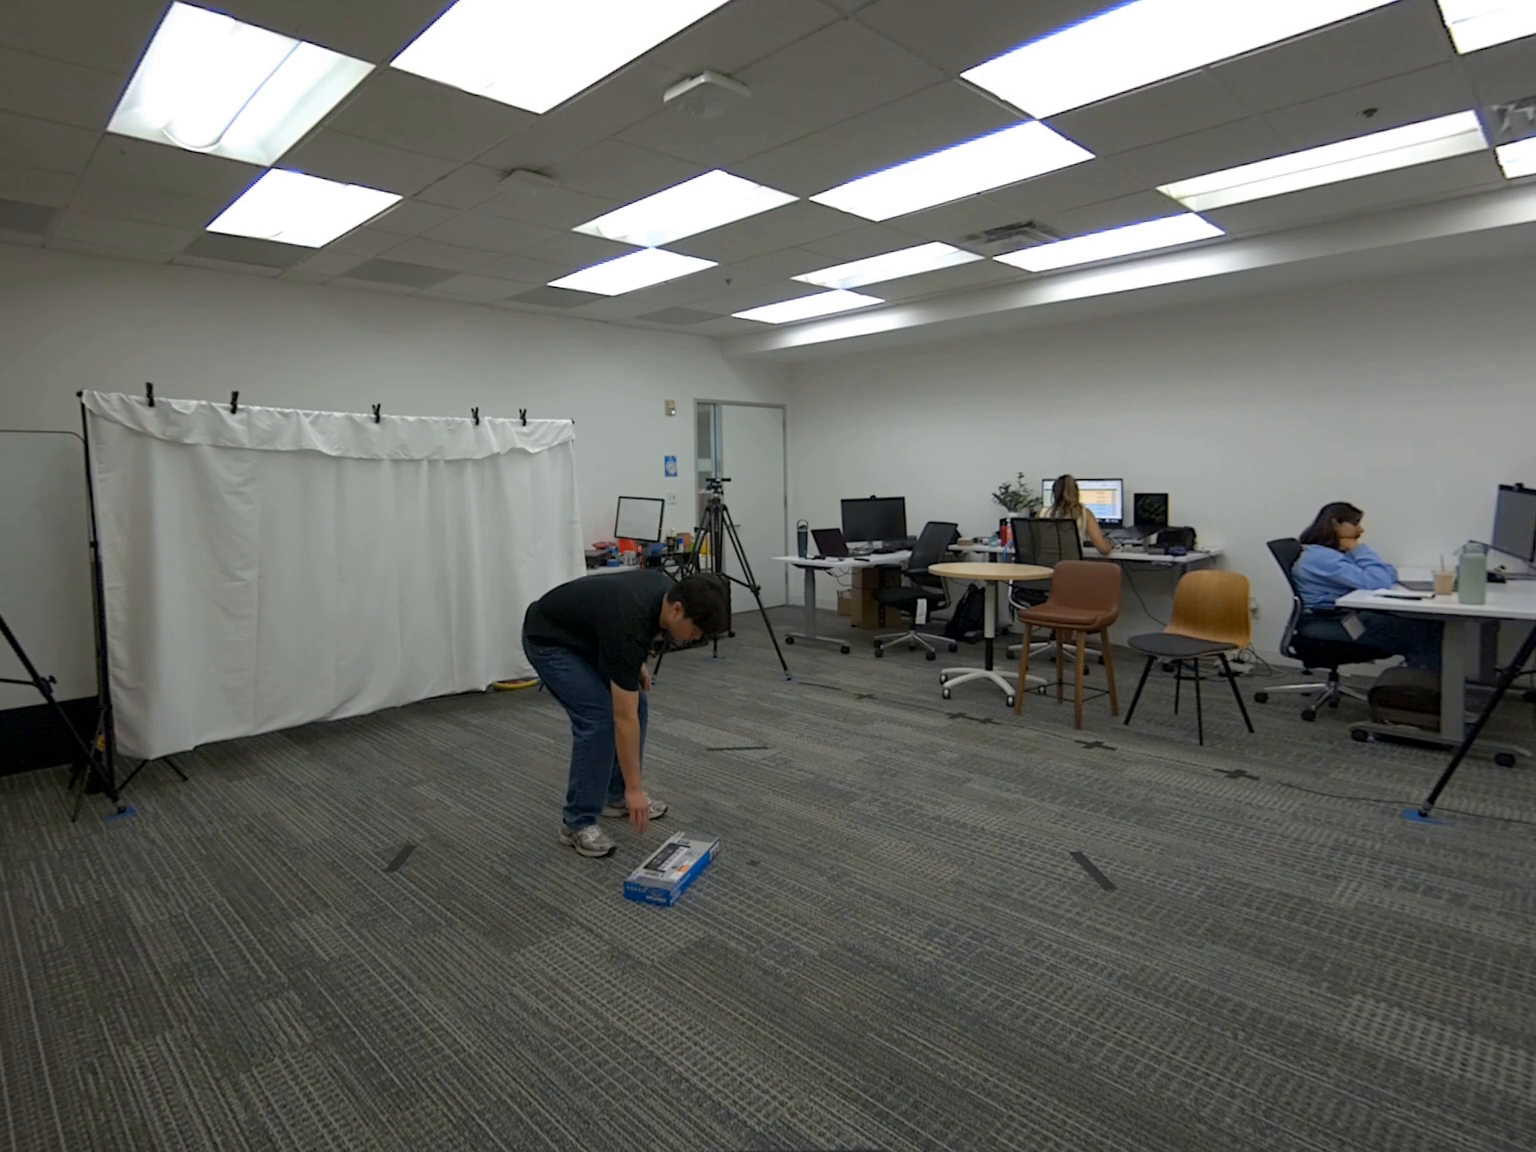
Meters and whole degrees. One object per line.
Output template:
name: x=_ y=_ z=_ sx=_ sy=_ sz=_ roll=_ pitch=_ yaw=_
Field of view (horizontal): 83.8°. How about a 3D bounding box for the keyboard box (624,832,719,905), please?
keyboard box: x=-0.327 y=1.027 z=3.022 sx=0.179 sy=0.059 sz=0.430 roll=2 pitch=7 yaw=20
